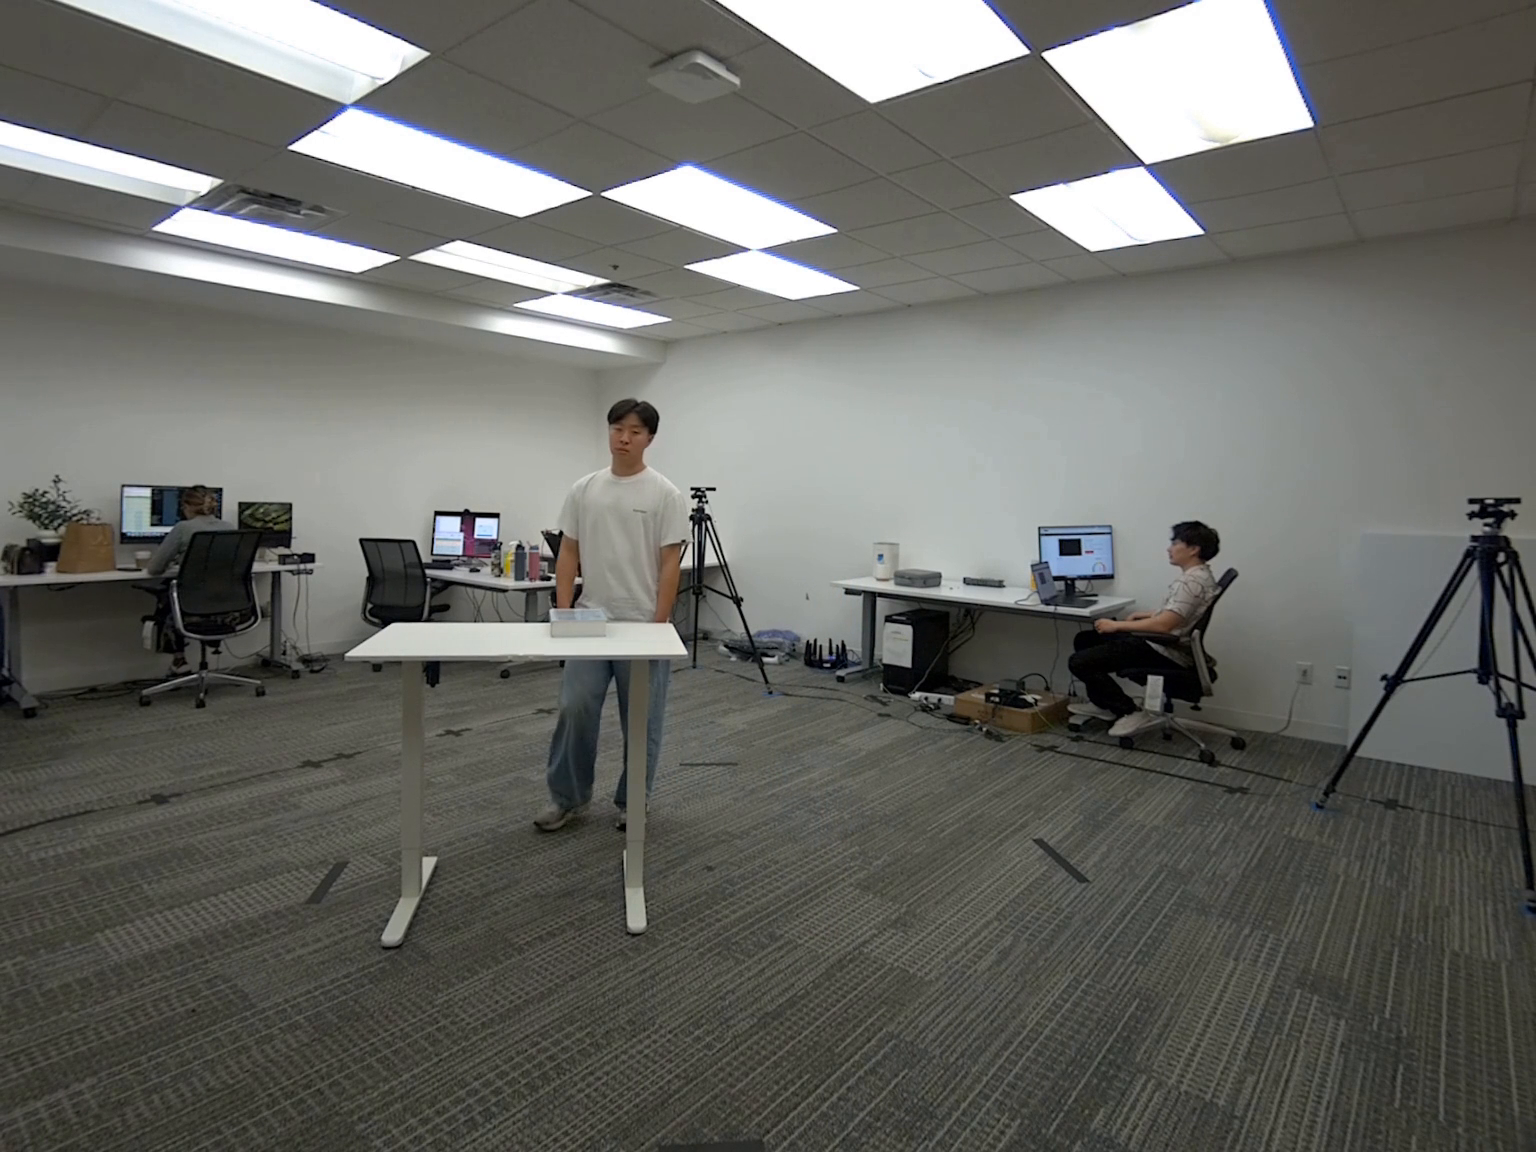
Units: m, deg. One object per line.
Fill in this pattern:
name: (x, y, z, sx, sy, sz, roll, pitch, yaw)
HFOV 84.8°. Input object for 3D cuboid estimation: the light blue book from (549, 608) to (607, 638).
light blue book: (-0.694, 0.161, 2.985, 0.188, 0.059, 0.267, 1, 8, -16)
